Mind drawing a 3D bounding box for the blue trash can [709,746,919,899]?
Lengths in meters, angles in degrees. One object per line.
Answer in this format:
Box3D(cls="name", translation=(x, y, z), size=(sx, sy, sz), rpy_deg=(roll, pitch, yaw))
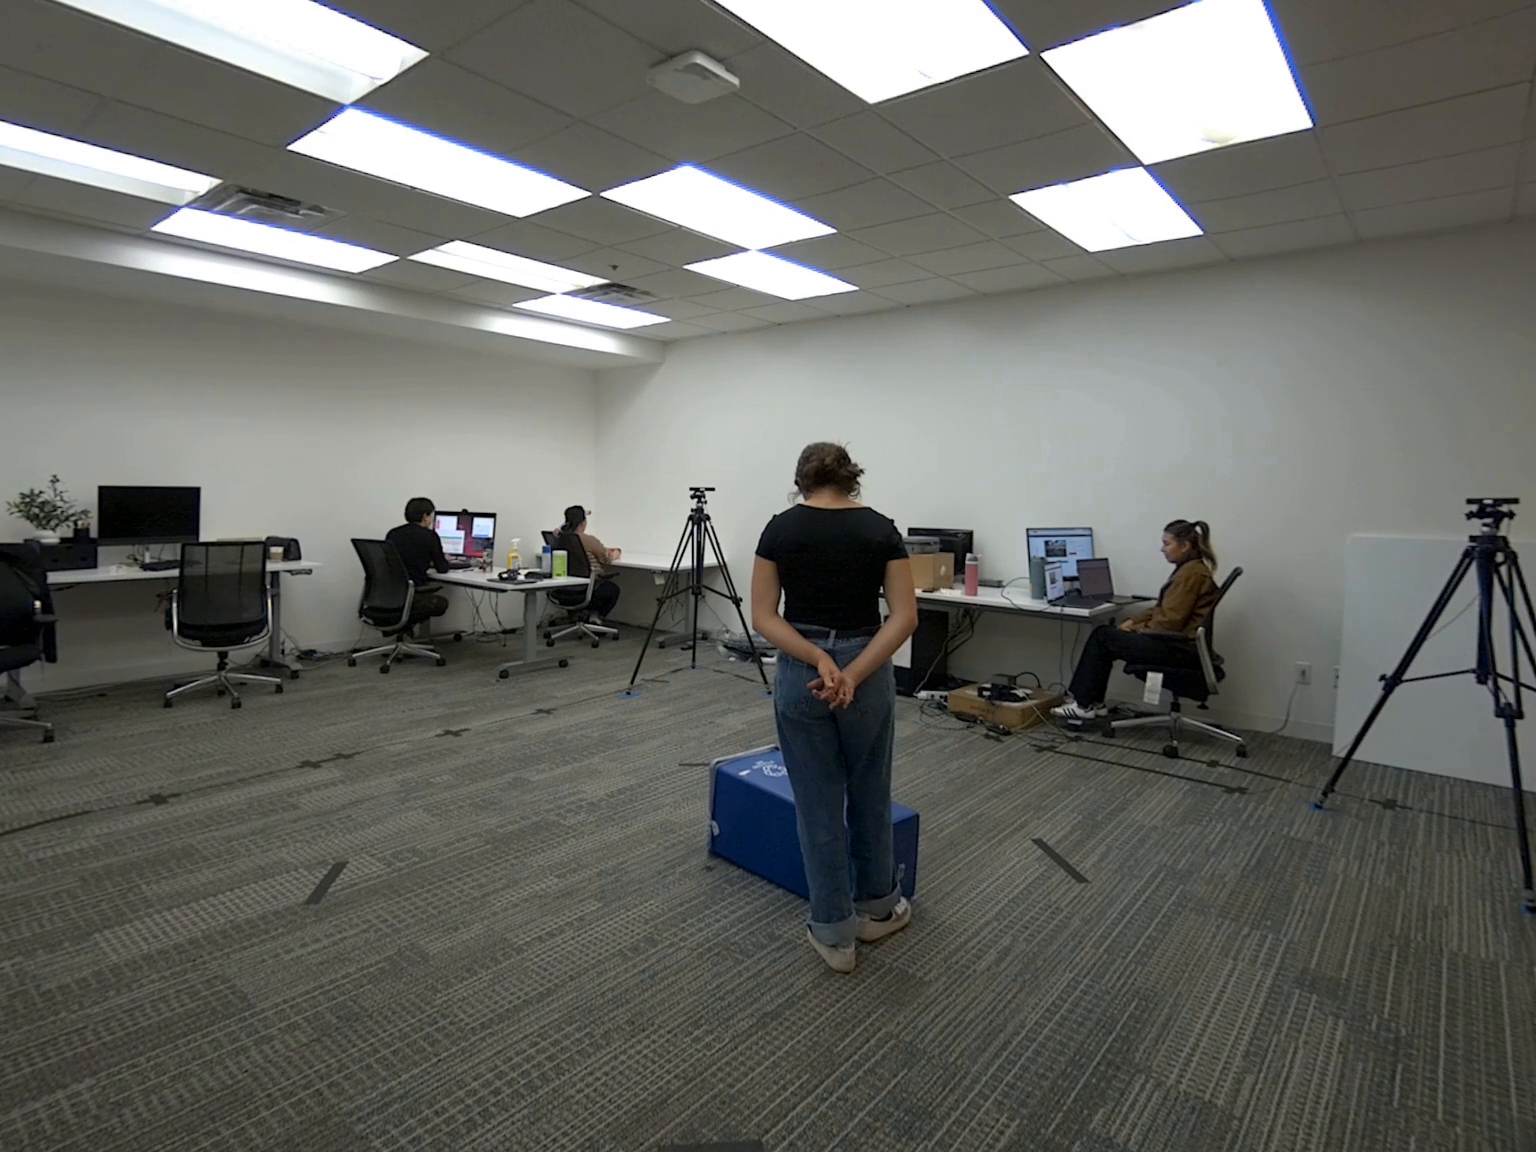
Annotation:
Box3D(cls="blue trash can", translation=(0.143, 0.912, 3.064), size=(0.363, 0.376, 0.740), rpy_deg=(-3, 9, -45))
